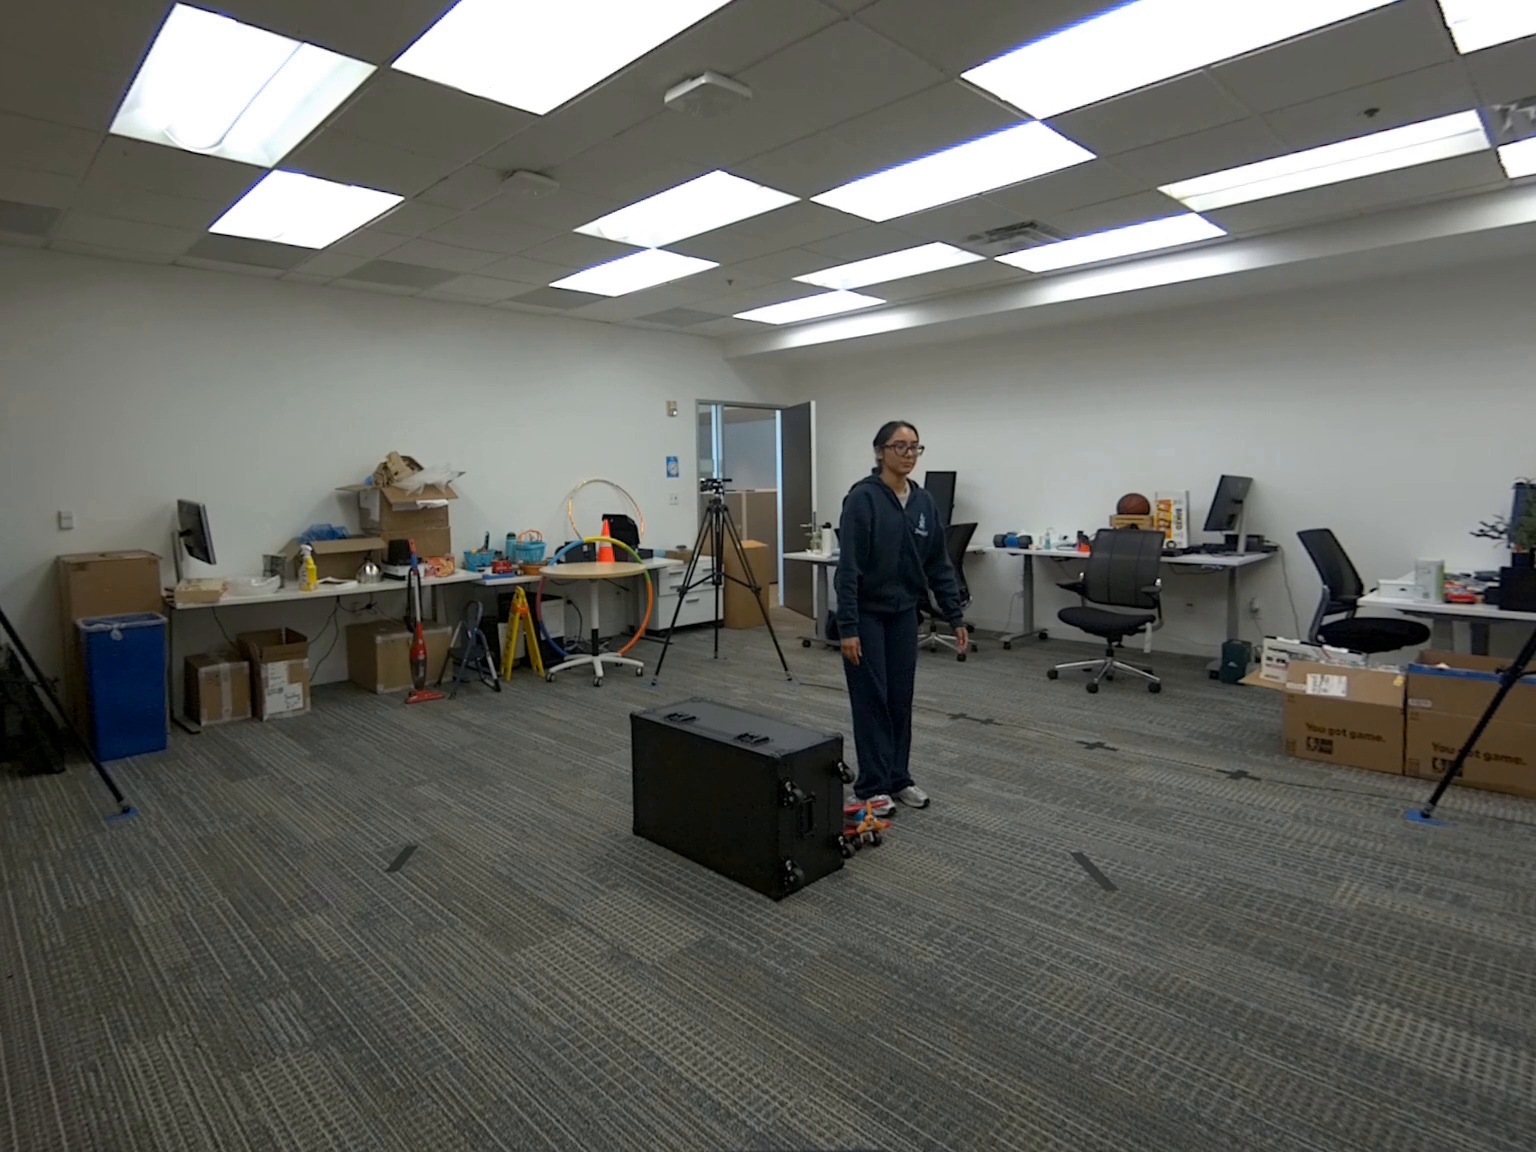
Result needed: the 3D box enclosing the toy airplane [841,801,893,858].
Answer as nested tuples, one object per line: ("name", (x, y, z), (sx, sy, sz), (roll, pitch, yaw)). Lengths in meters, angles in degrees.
("toy airplane", (0.322, 0.947, 3.265), (0.267, 0.155, 0.245), (7, 9, 39))
